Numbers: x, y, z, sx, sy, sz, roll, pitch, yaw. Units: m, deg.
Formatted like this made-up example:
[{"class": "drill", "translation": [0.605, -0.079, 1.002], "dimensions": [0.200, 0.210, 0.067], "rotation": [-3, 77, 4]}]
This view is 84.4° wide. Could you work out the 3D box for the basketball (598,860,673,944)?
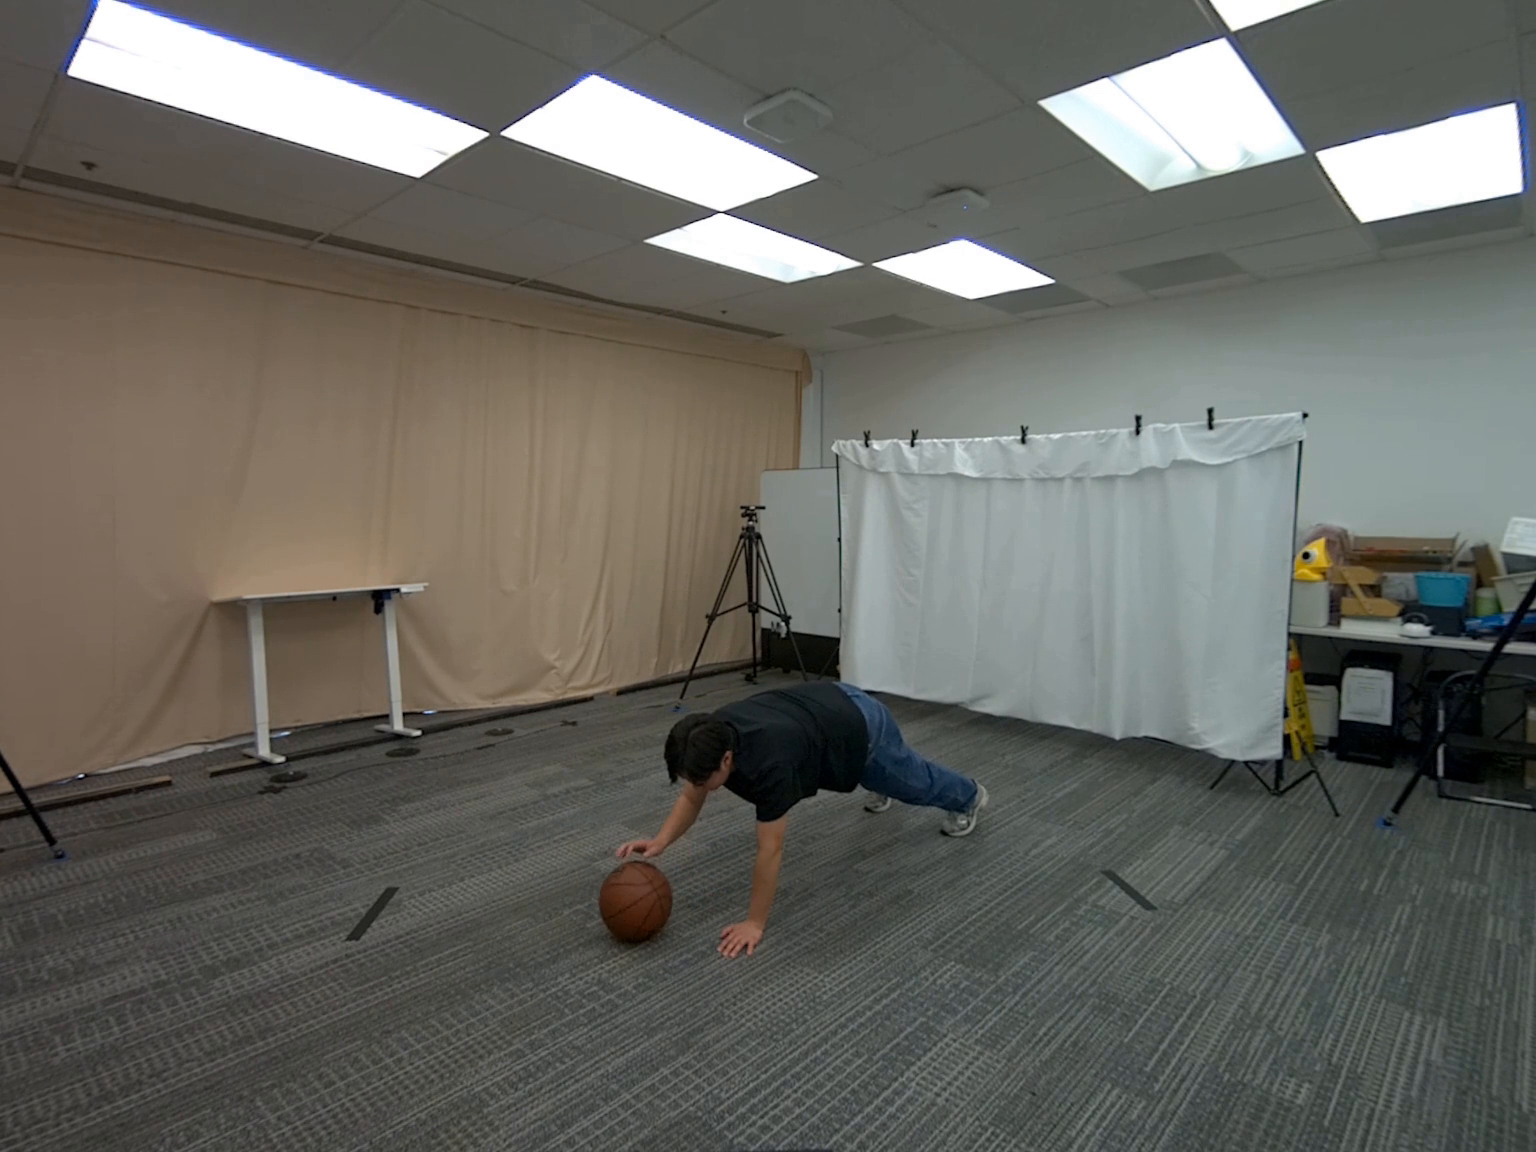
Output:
[{"class": "basketball", "translation": [-0.427, 1.045, 2.720], "dimensions": [0.236, 0.235, 0.237], "rotation": [0, 4, -2]}]
